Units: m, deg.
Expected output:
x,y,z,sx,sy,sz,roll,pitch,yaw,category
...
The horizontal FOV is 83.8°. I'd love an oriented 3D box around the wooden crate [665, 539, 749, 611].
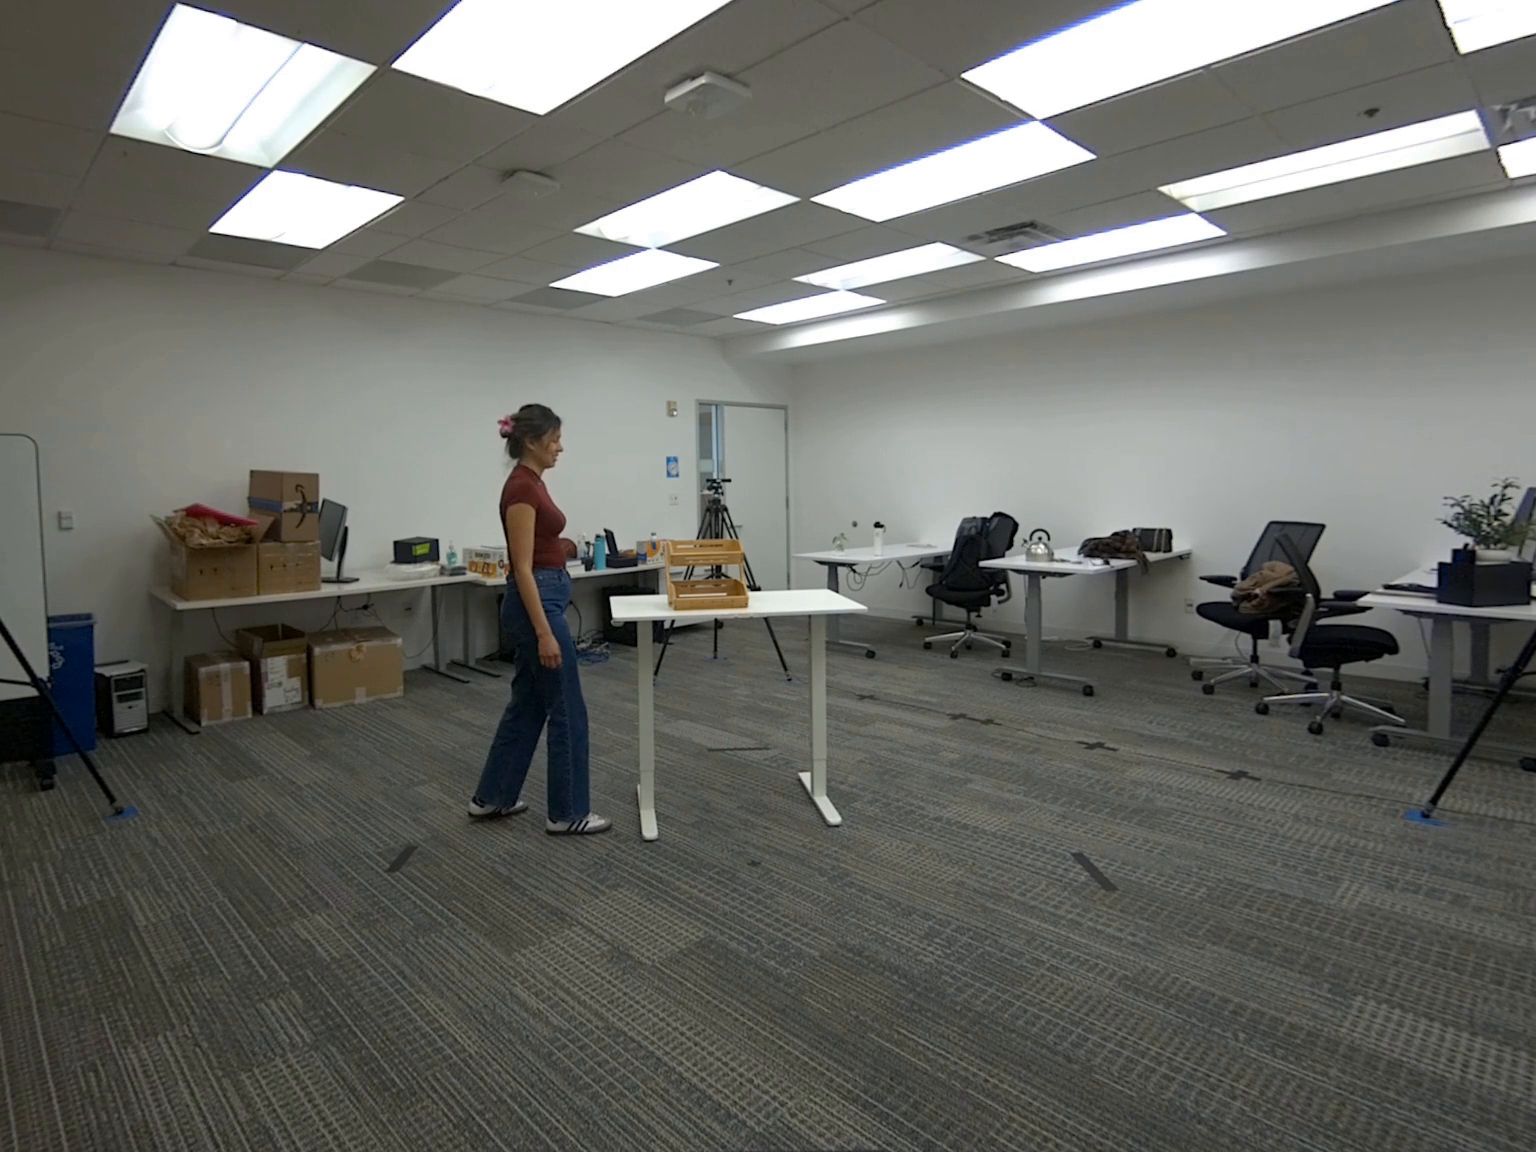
x,y,z,sx,sy,sz,roll,pitch,yaw,category
-0.260,-0.015,3.524,0.321,0.273,0.306,-1,4,-12,wooden crate
